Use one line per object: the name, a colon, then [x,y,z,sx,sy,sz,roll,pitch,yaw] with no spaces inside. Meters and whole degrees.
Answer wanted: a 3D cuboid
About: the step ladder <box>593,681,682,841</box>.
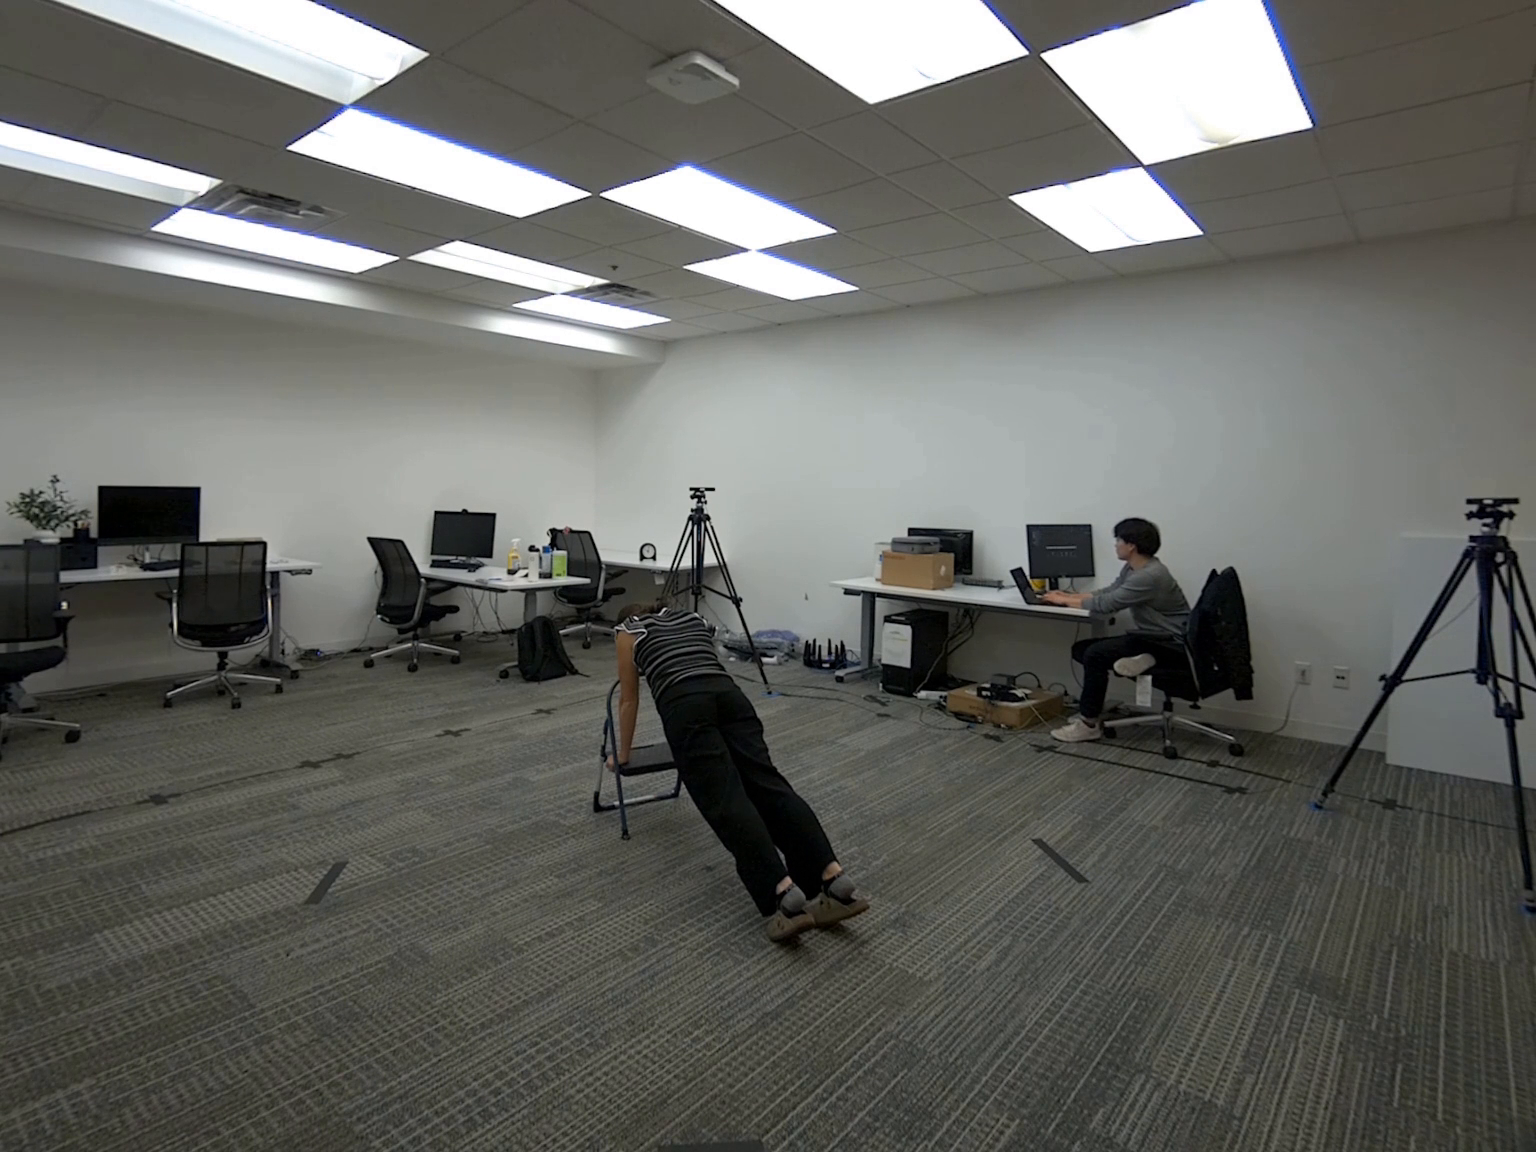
step ladder: [-0.496,0.714,3.593,0.418,0.605,0.360,-1,3,-33]
